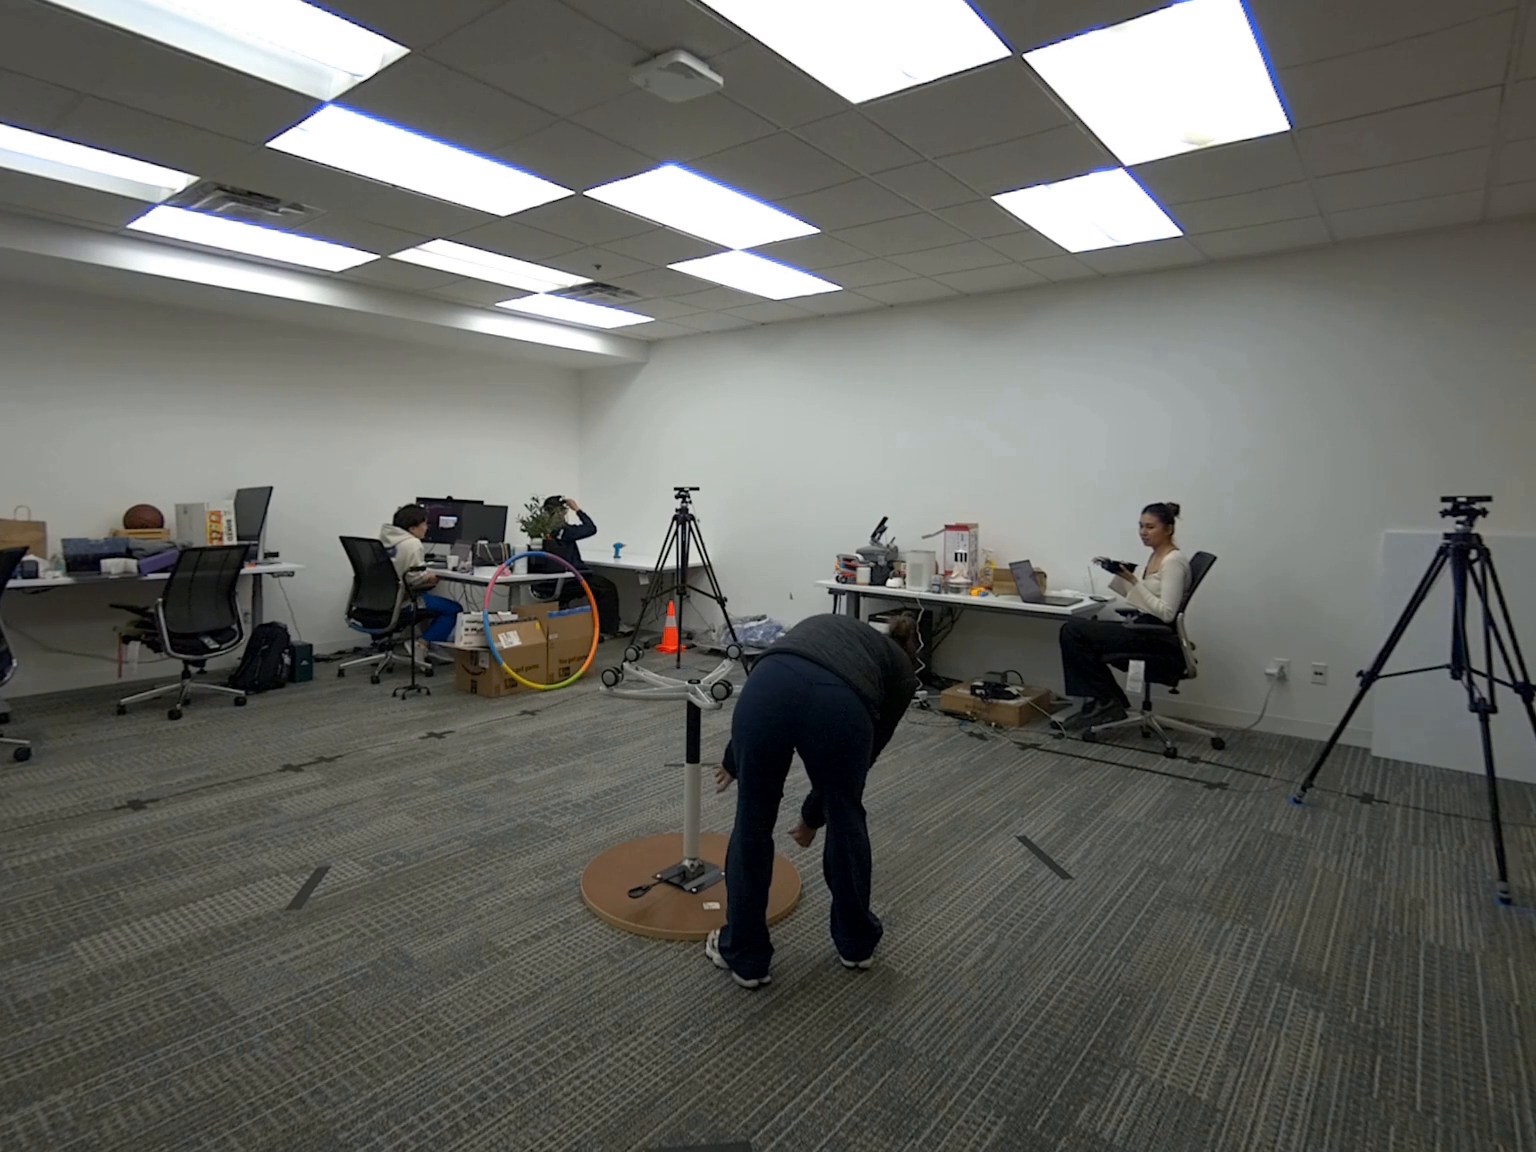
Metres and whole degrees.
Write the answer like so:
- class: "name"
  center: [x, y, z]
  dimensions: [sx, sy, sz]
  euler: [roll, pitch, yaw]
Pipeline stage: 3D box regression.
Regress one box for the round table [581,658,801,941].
- class: "round table"
  center: [-0.261, 0.676, 2.980]
  dimensions: [0.784, 0.785, 0.788]
  euler: [1, 3, -2]
